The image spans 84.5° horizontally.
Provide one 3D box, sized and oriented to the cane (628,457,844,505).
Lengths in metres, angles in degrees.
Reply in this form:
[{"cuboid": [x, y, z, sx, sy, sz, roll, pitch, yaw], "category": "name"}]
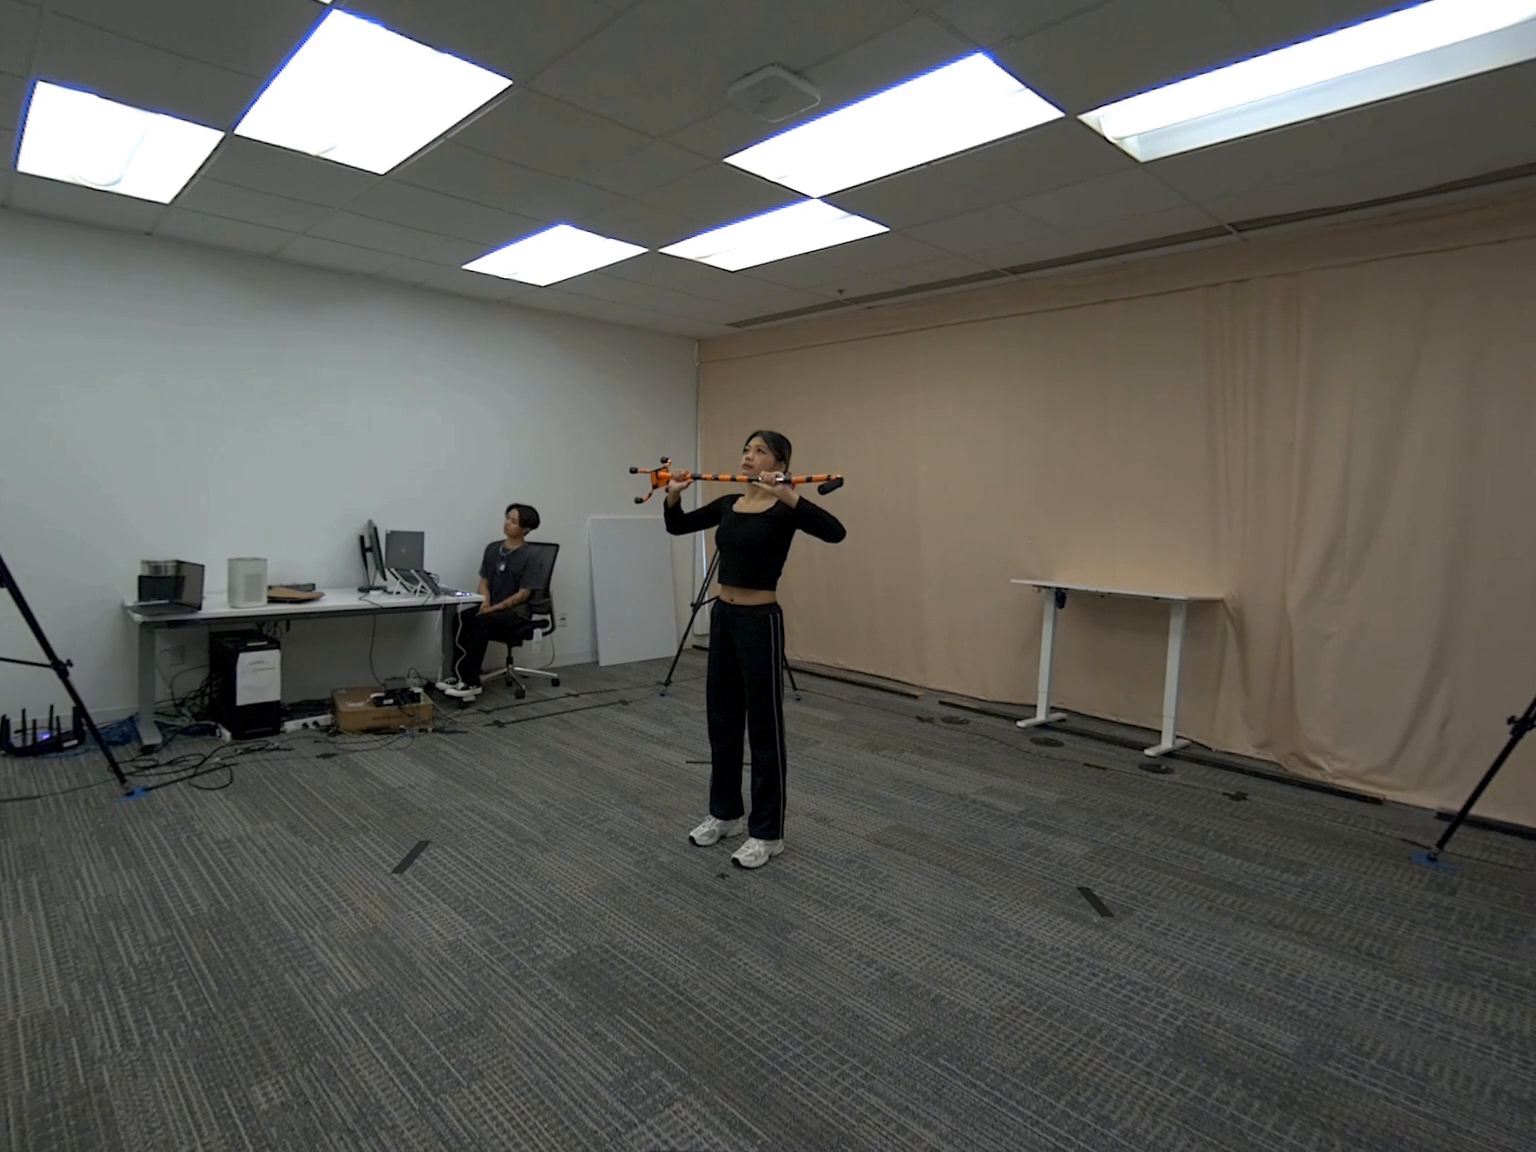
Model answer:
[{"cuboid": [-0.120, -0.343, 3.084, 0.931, 0.149, 0.204, 7, 24, 39], "category": "cane"}]
